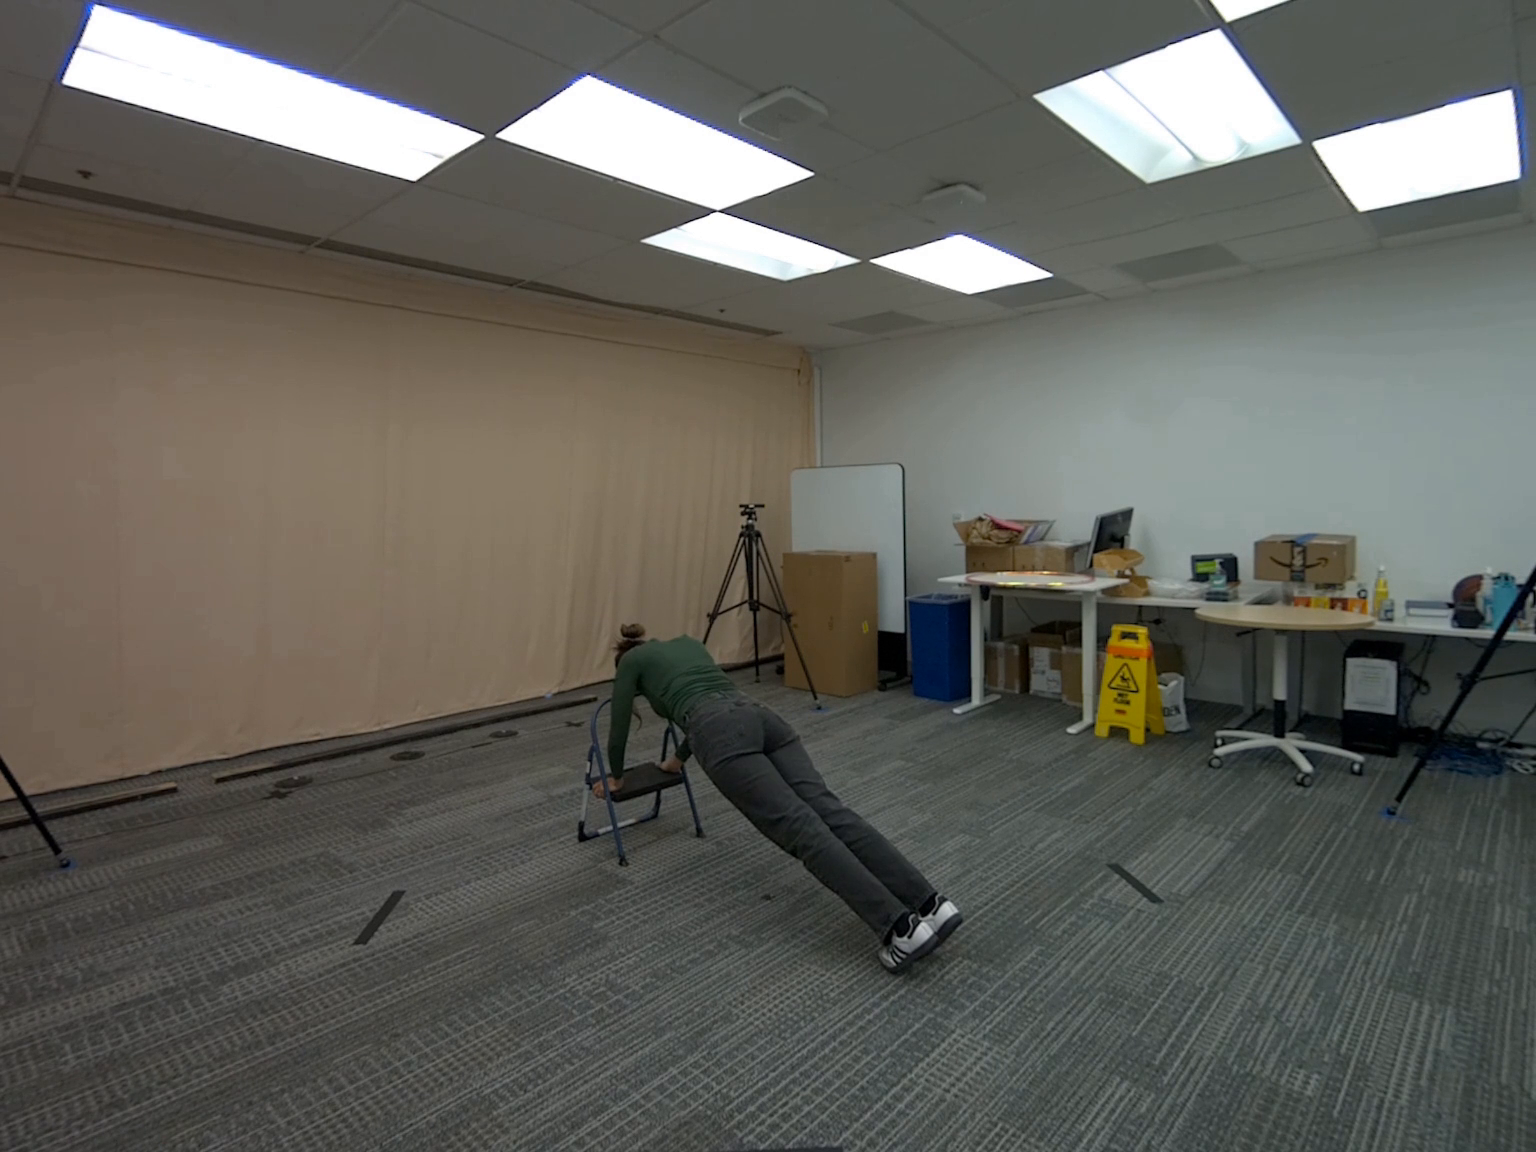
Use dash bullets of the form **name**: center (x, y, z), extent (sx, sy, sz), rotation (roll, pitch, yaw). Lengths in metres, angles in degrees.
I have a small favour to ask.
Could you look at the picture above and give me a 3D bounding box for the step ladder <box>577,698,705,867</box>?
- **step ladder**: center (-0.539, 0.805, 3.526), extent (0.417, 0.605, 0.361), rotation (-4, 4, -43)
